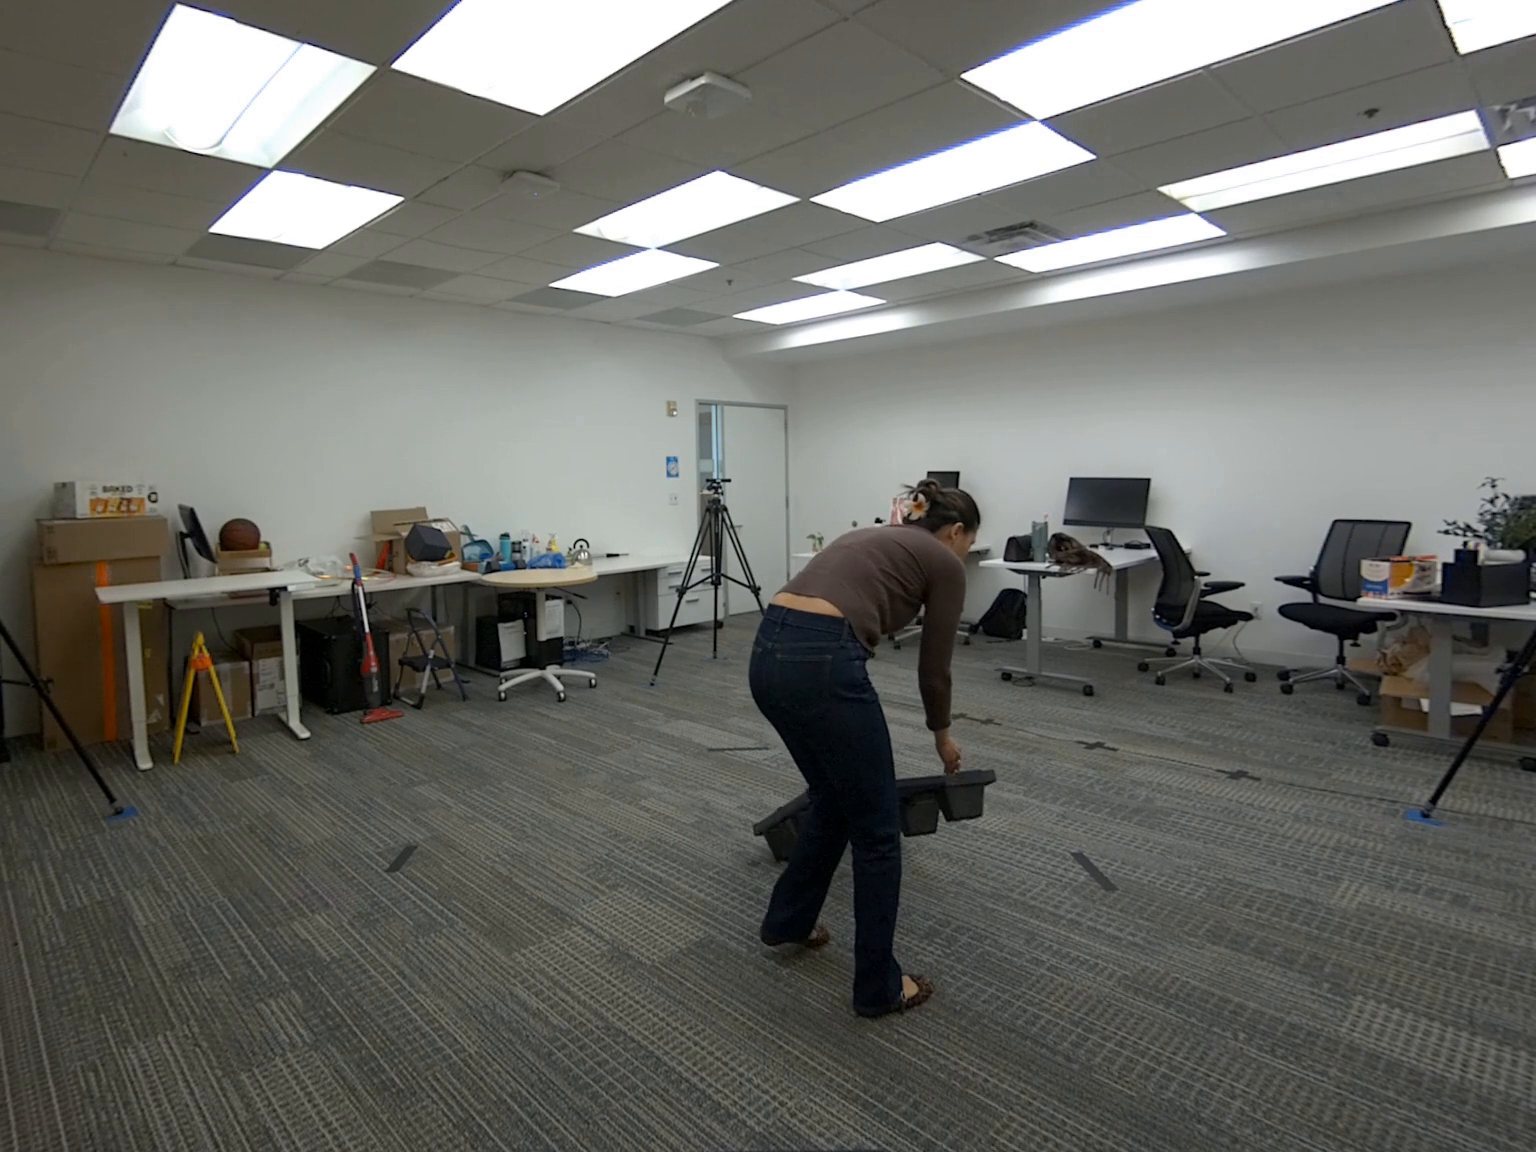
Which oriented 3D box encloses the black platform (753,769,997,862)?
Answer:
[{"bbox_3d":[0.339,0.822,2.881,0.597,0.147,0.797,-3,-24,-15],"label":"black platform"}]
